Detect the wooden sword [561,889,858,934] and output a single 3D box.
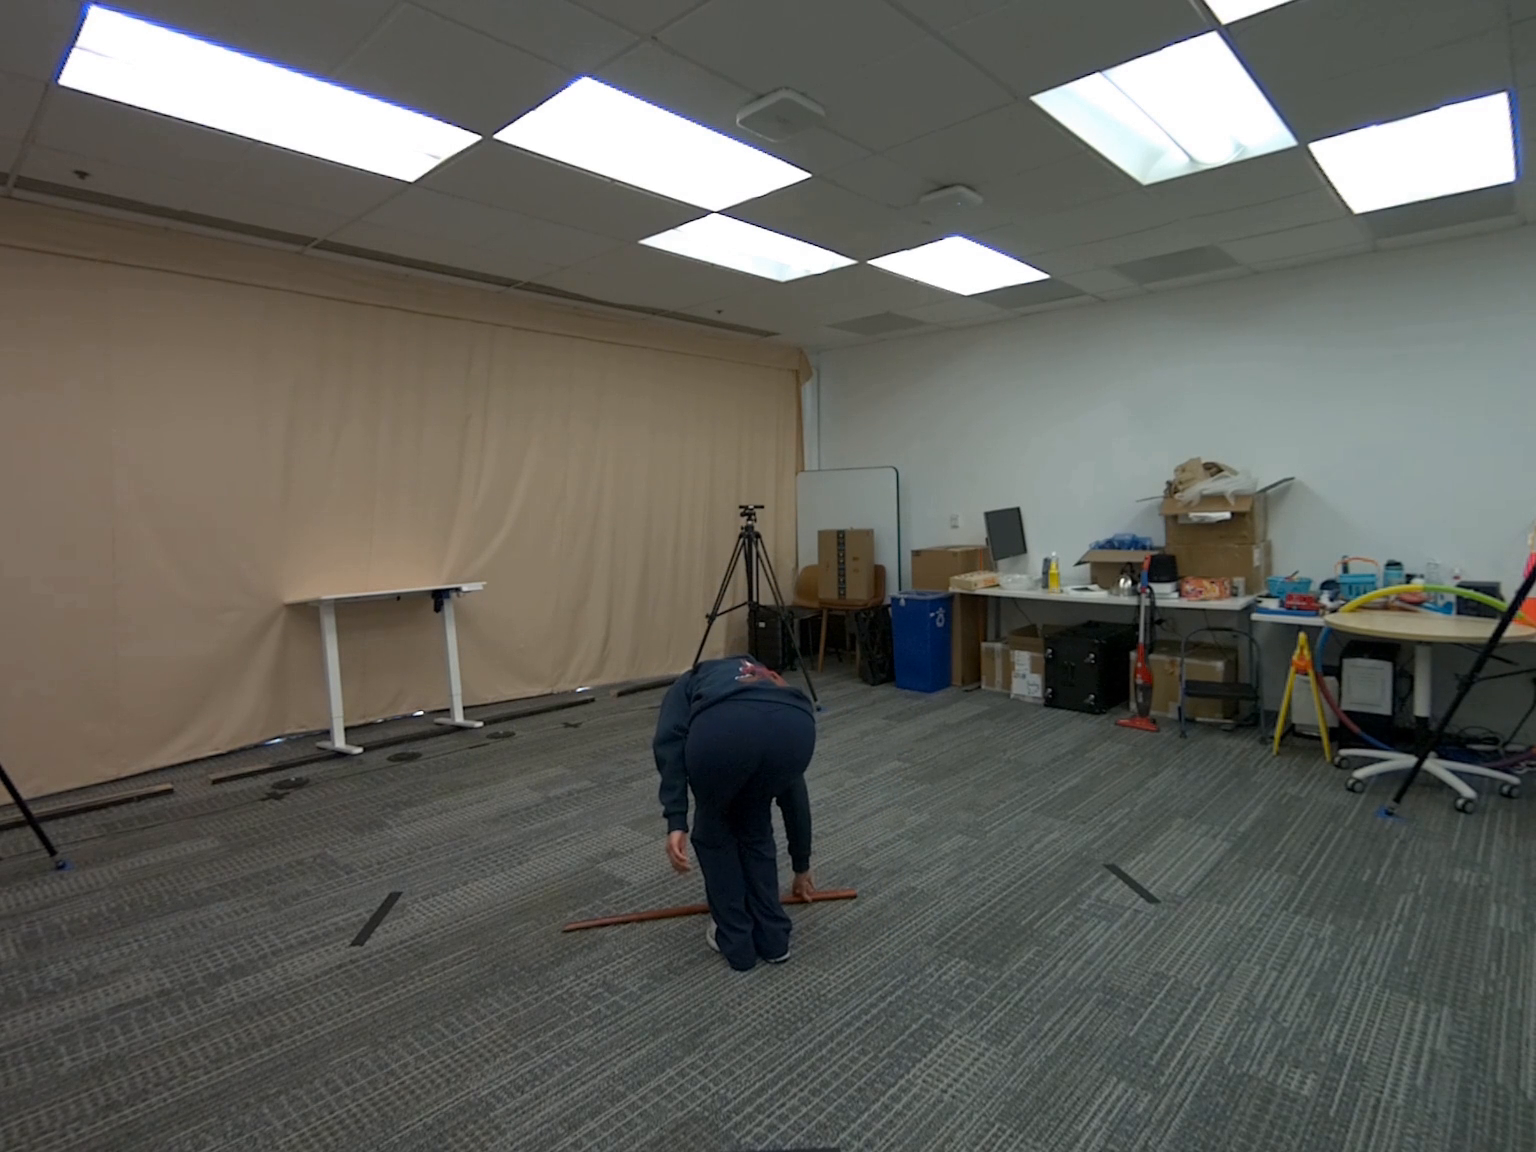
[{"bbox_3d":[-0.190,1.136,2.894,1.014,0.024,0.052,-2,11,-10],"label":"wooden sword"}]
